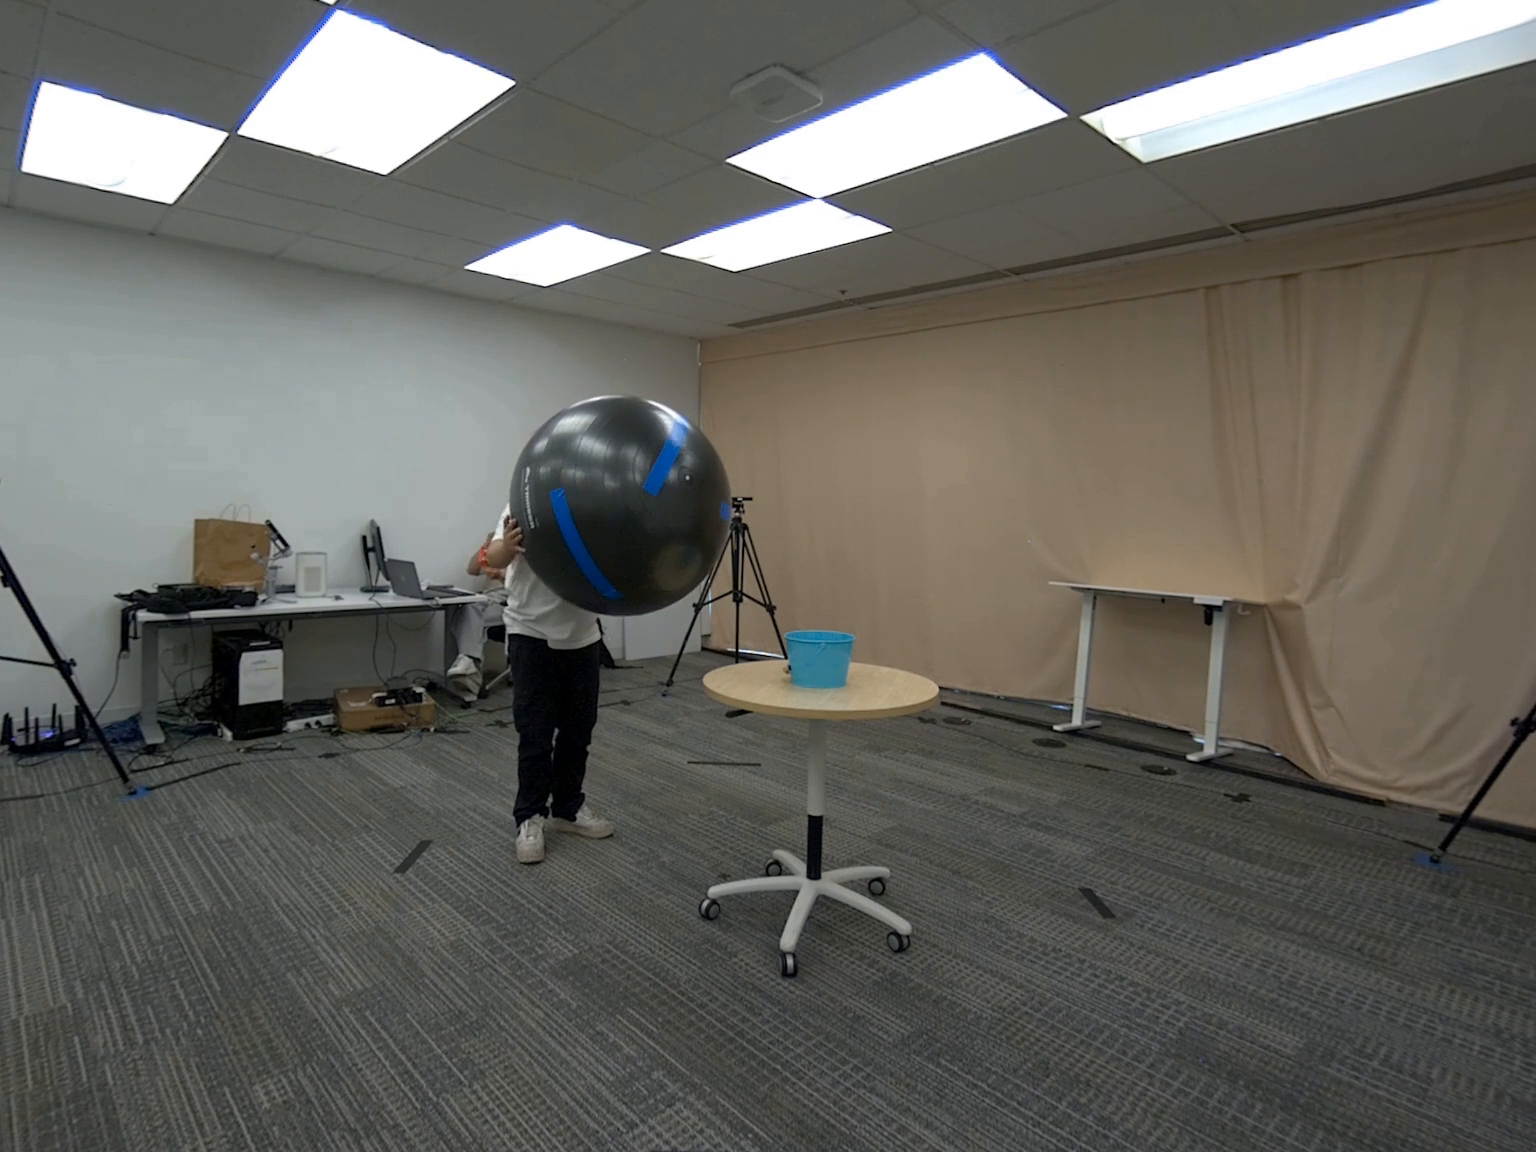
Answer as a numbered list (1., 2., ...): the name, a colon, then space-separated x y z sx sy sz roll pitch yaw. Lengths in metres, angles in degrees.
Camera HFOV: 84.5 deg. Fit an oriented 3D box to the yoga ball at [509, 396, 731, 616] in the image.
1. yoga ball: -0.515 -0.236 2.911 0.757 0.756 0.760 1 4 -1
